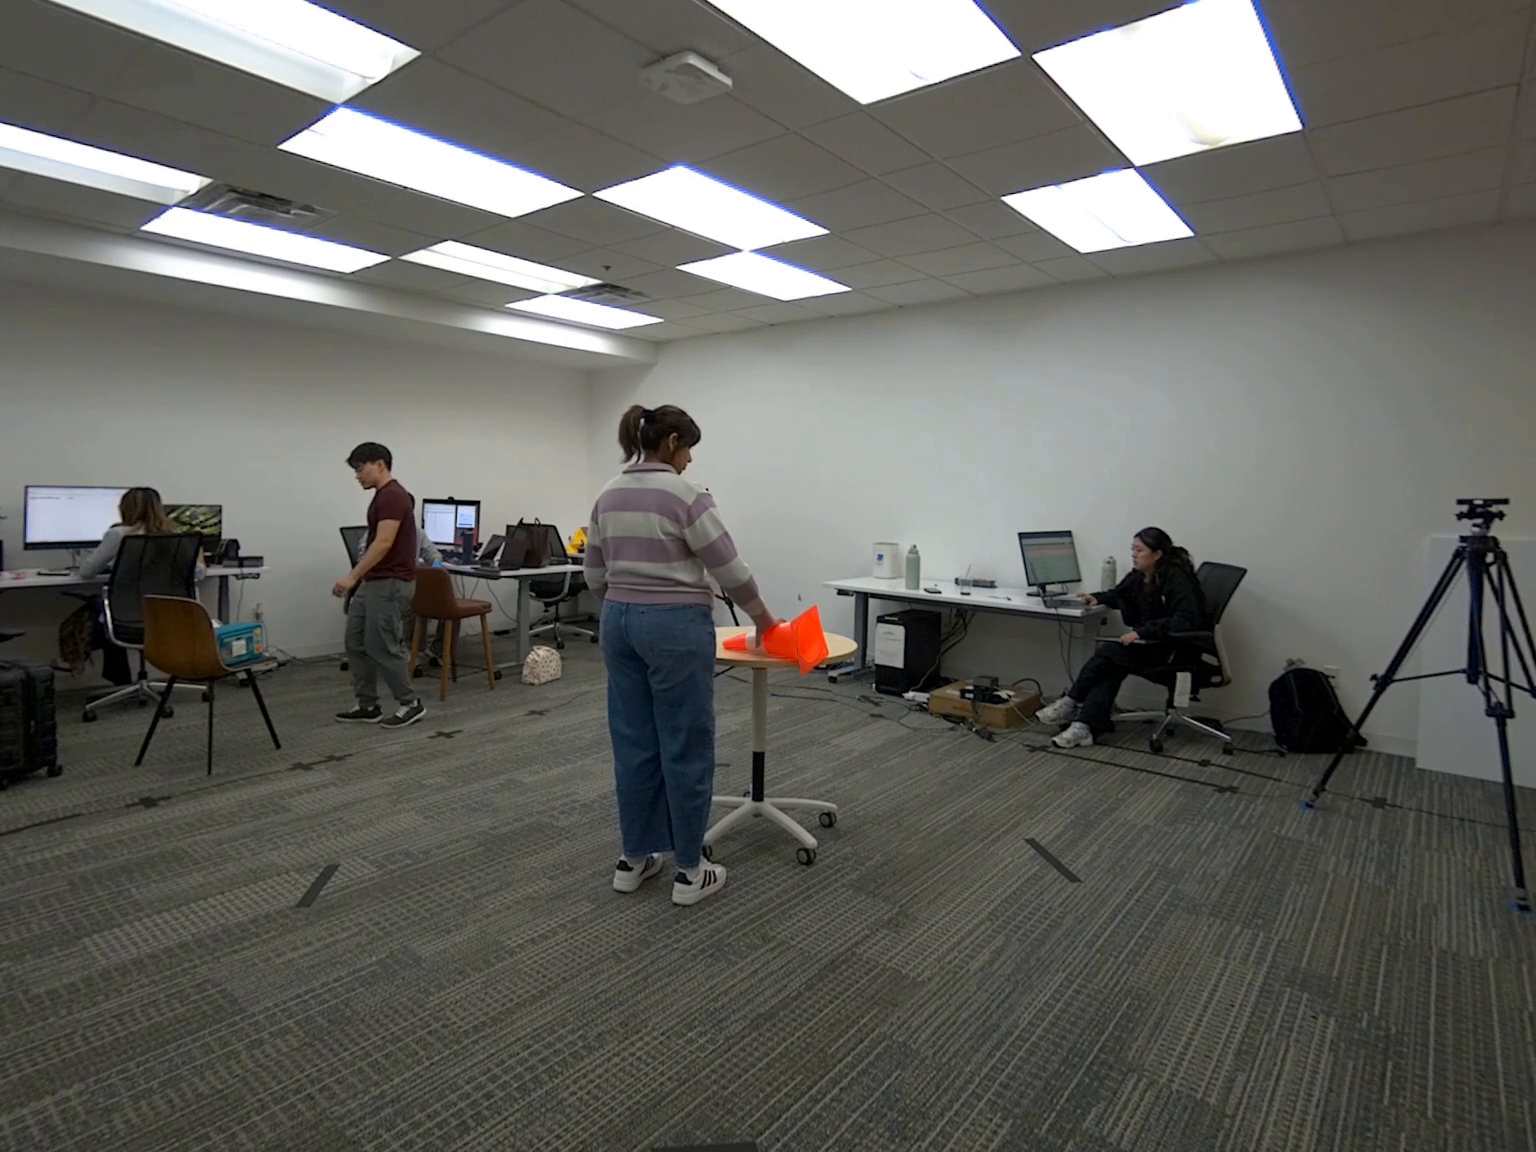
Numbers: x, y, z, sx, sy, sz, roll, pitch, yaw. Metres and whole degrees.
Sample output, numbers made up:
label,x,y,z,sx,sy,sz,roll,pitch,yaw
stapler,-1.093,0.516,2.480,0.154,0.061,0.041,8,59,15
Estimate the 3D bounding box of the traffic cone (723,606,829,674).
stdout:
label,x,y,z,sx,sy,sz,roll,pitch,yaw
traffic cone,-0.019,0.240,3.136,0.394,0.201,0.202,-7,12,34
